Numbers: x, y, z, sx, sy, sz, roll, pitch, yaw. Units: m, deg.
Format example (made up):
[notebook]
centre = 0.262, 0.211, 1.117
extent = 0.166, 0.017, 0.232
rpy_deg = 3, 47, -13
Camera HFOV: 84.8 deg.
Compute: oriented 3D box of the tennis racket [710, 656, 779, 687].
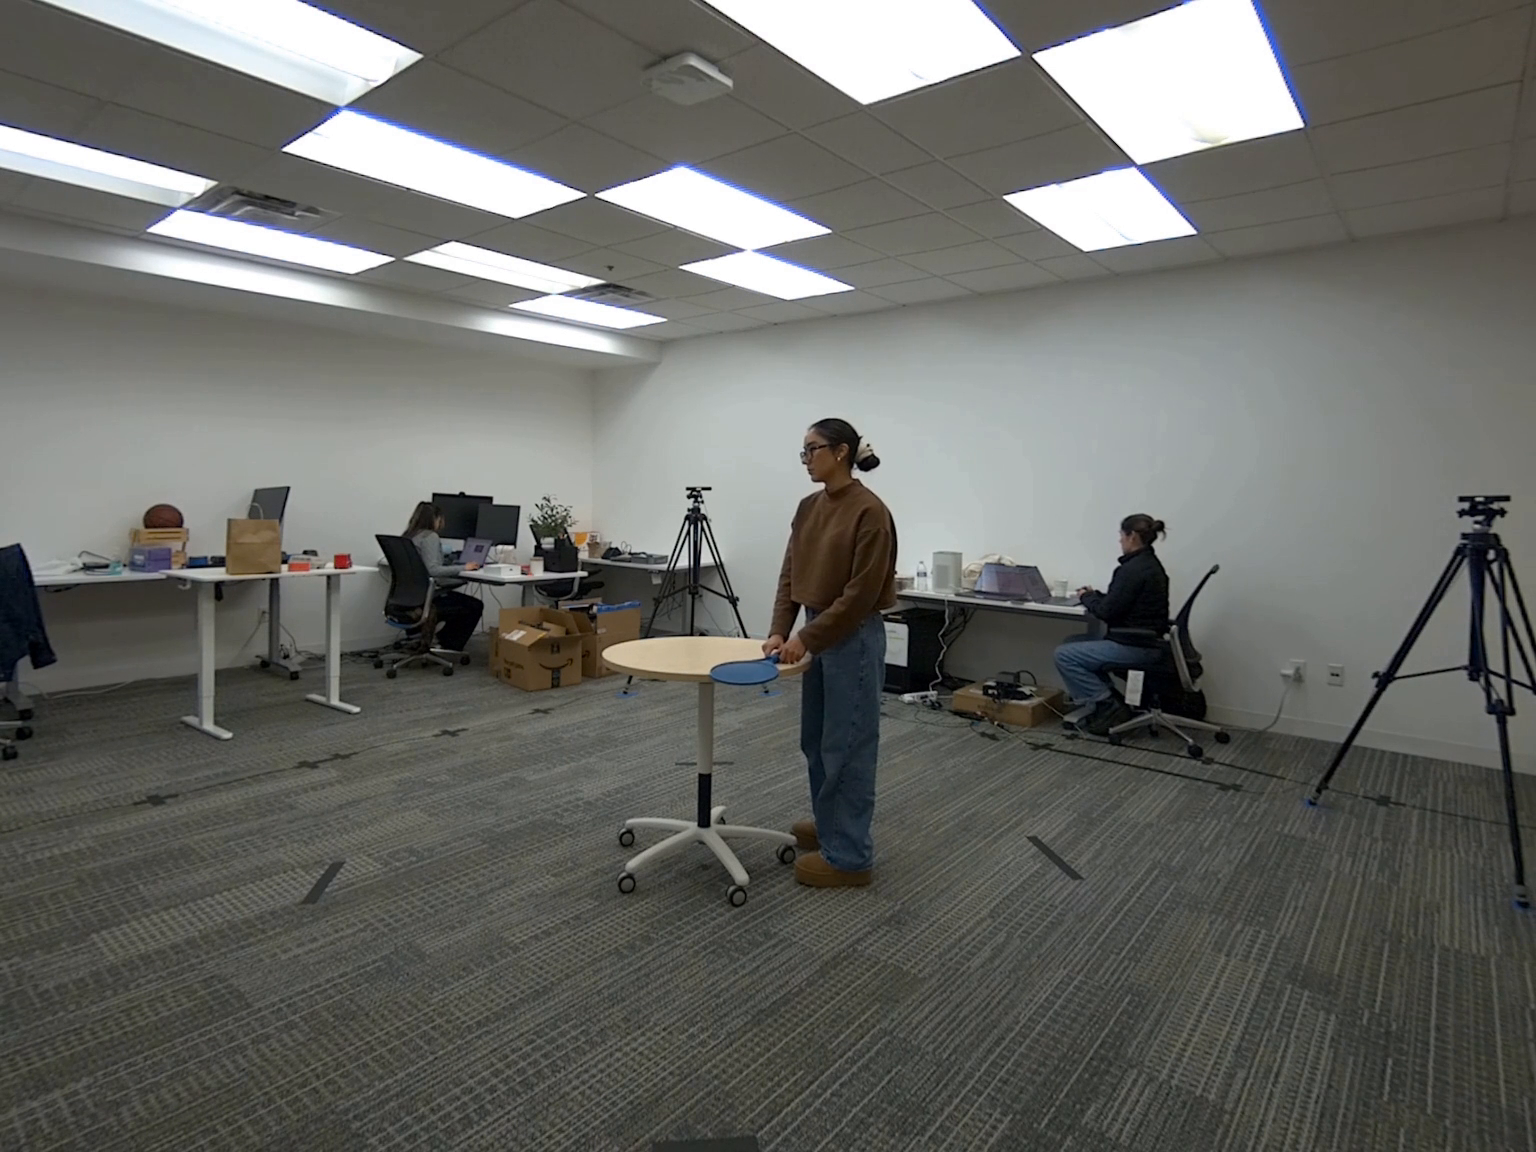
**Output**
[tennis racket]
centre = -0.044, 0.306, 2.827
extent = 0.220, 0.031, 0.423
rpy_deg = 6, 10, 30
